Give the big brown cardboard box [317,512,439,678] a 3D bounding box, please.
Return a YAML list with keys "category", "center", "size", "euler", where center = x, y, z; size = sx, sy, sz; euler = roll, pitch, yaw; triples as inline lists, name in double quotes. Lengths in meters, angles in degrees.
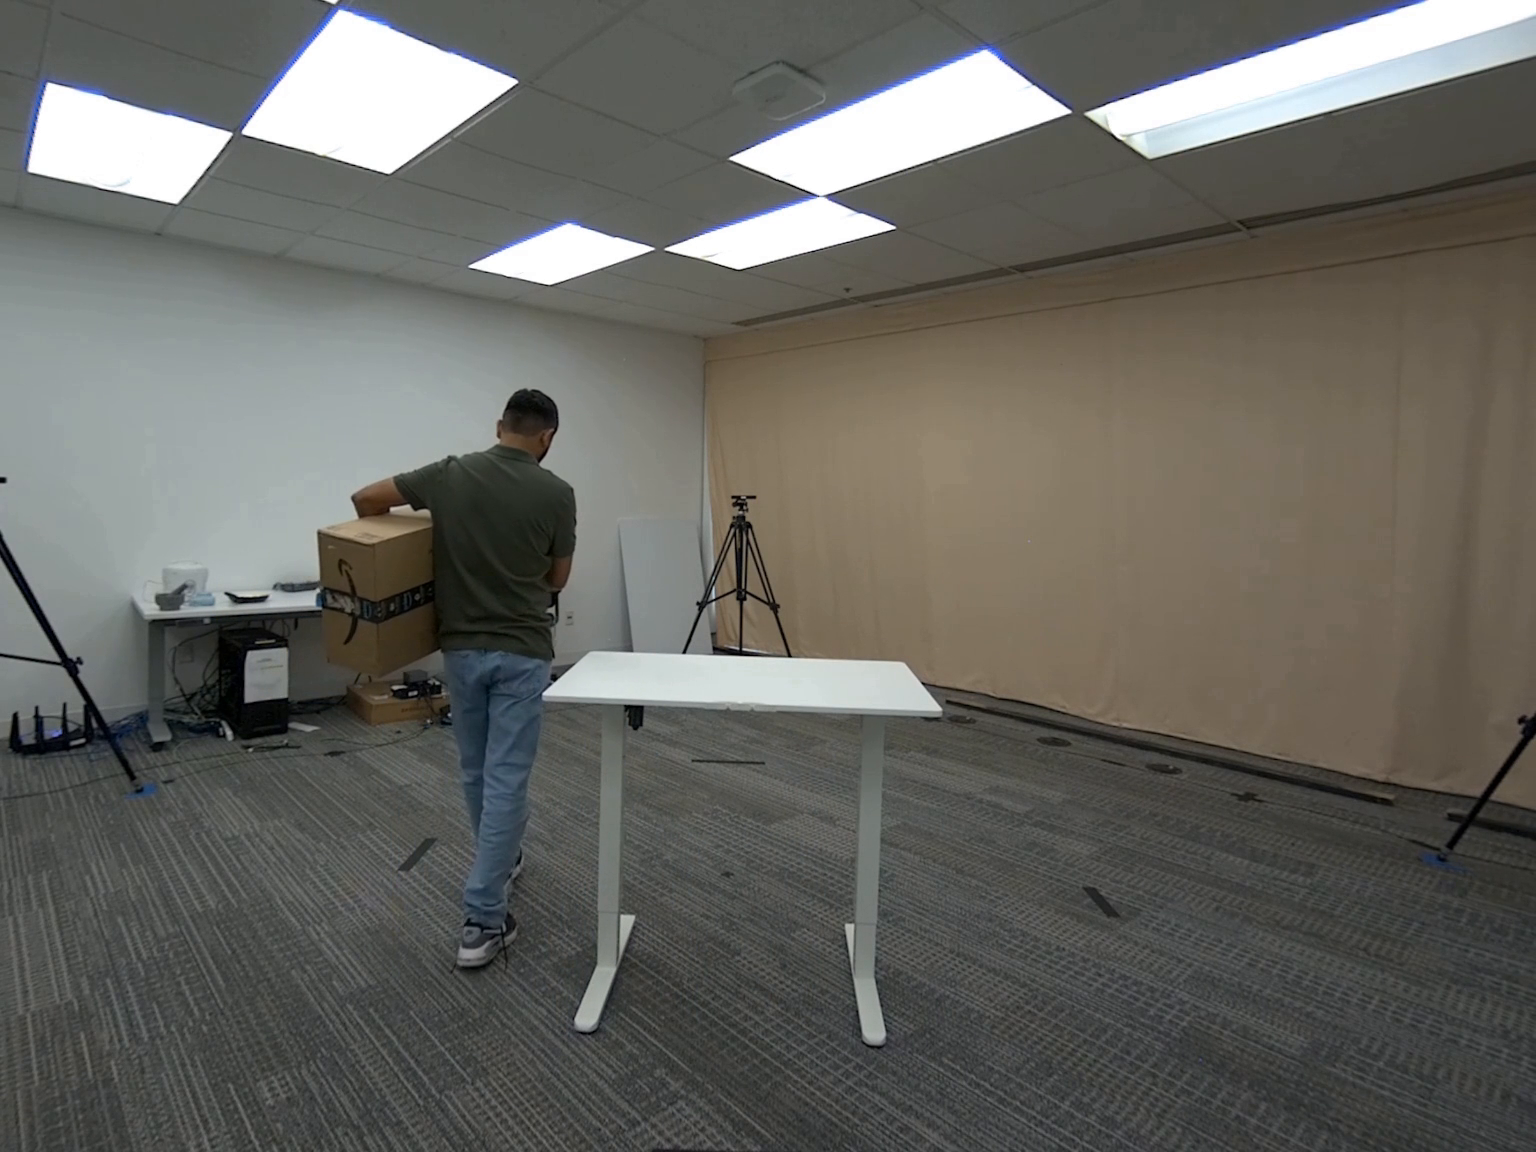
- category: "big brown cardboard box"
  center: [-1.118, 0.013, 2.669]
  size: [0.237, 0.413, 0.584]
  euler: [11, 17, 20]
